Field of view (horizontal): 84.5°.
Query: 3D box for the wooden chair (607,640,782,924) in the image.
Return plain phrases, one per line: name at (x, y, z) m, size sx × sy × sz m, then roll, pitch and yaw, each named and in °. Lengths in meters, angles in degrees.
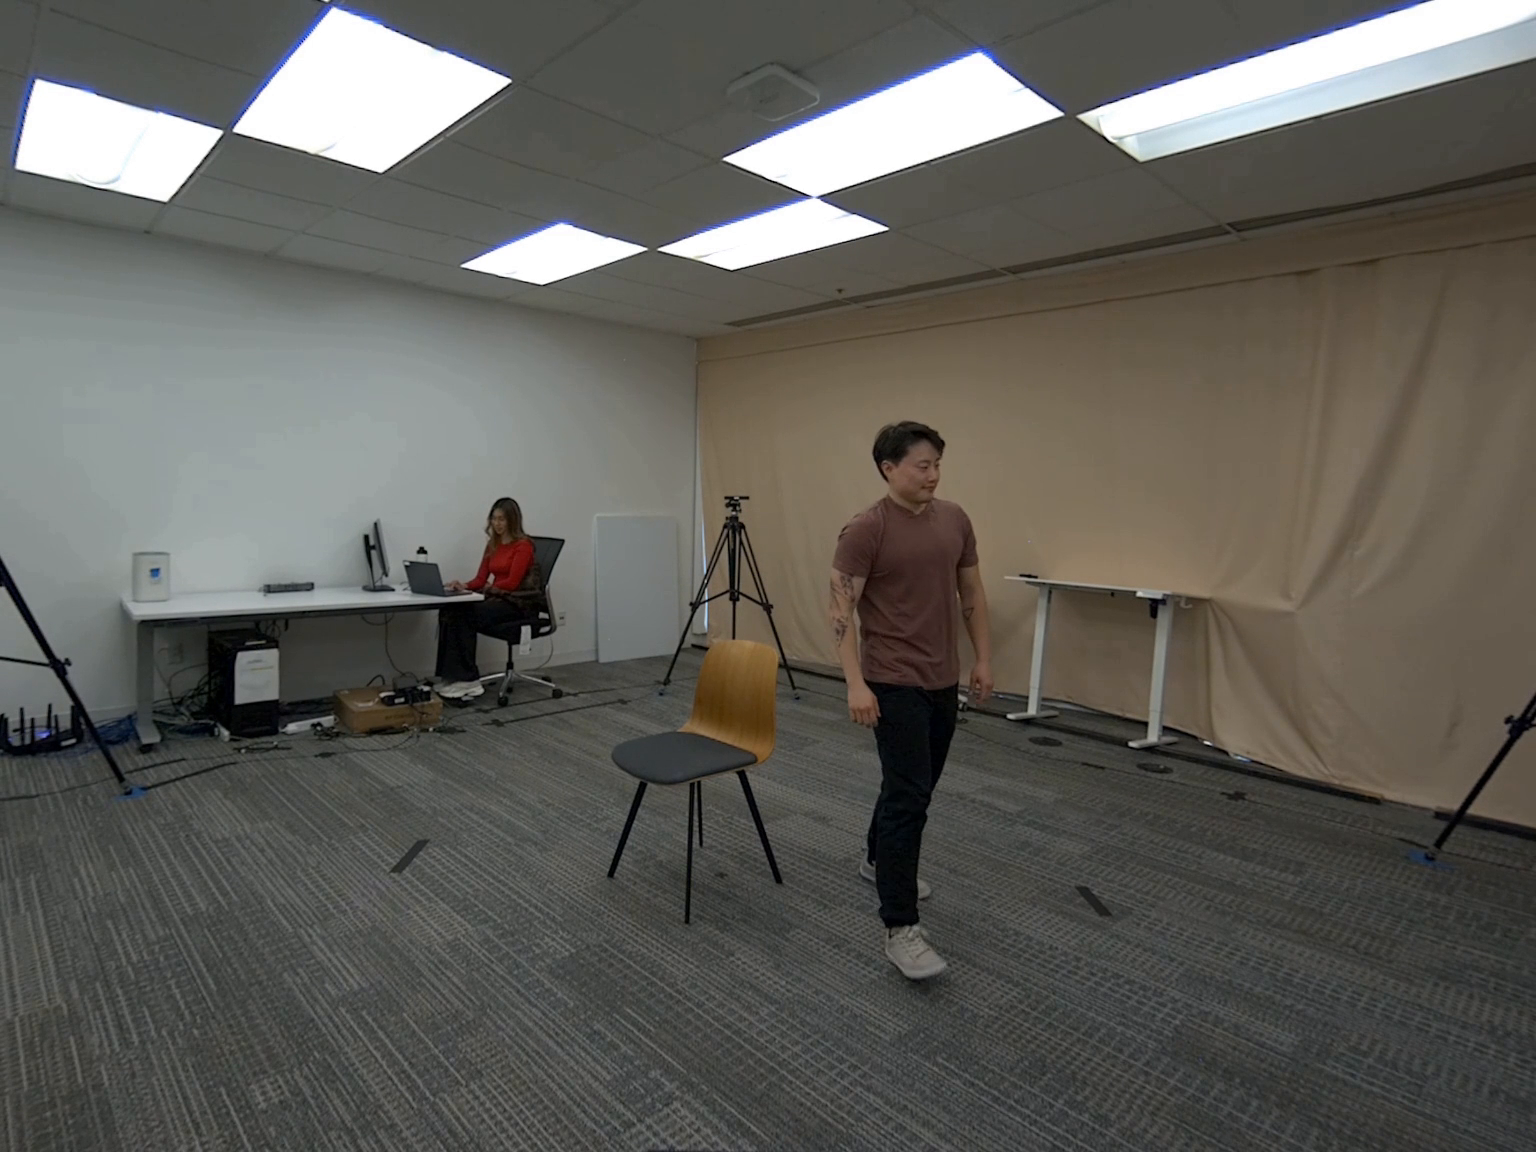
wooden chair at (-0.270, 0.685, 3.021) m, size 0.510 × 0.877 × 0.490 m, roll 4°, pitch 1°, yaw -45°
